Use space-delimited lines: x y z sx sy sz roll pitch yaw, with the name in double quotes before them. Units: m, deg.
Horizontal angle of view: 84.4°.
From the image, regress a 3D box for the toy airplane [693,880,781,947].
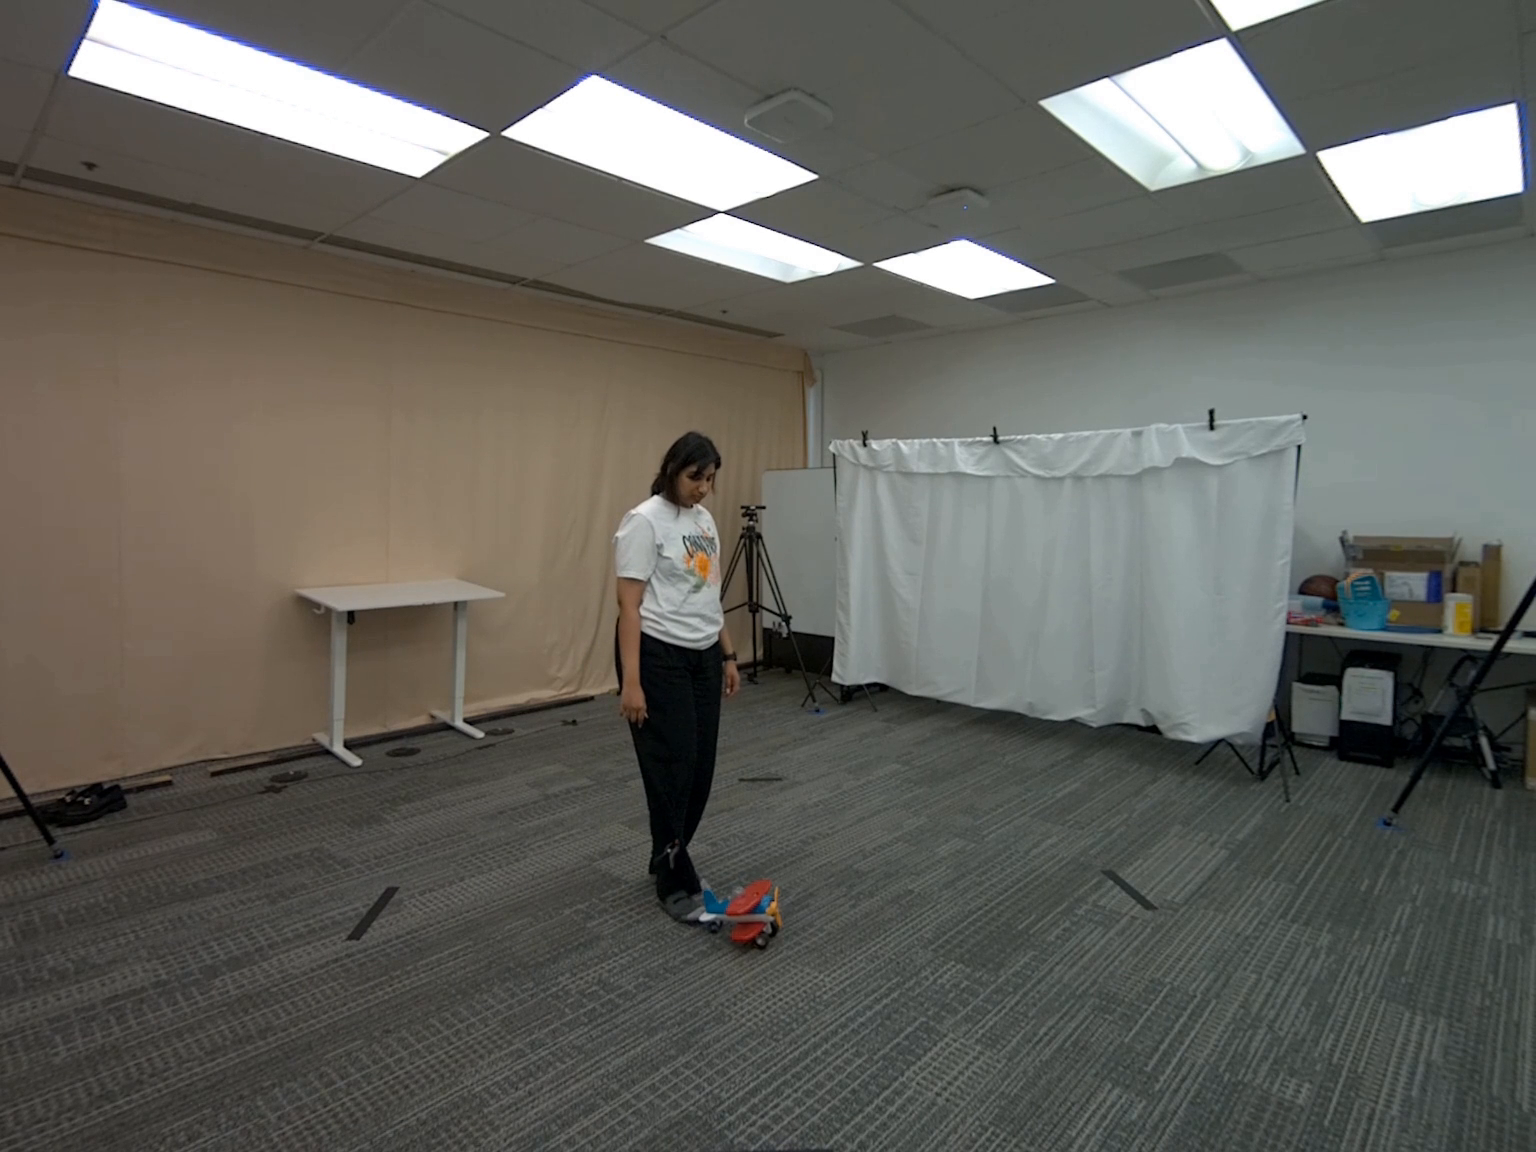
"toy airplane" -0.086 1.091 2.698 0.258 0.156 0.253 0 4 -5
